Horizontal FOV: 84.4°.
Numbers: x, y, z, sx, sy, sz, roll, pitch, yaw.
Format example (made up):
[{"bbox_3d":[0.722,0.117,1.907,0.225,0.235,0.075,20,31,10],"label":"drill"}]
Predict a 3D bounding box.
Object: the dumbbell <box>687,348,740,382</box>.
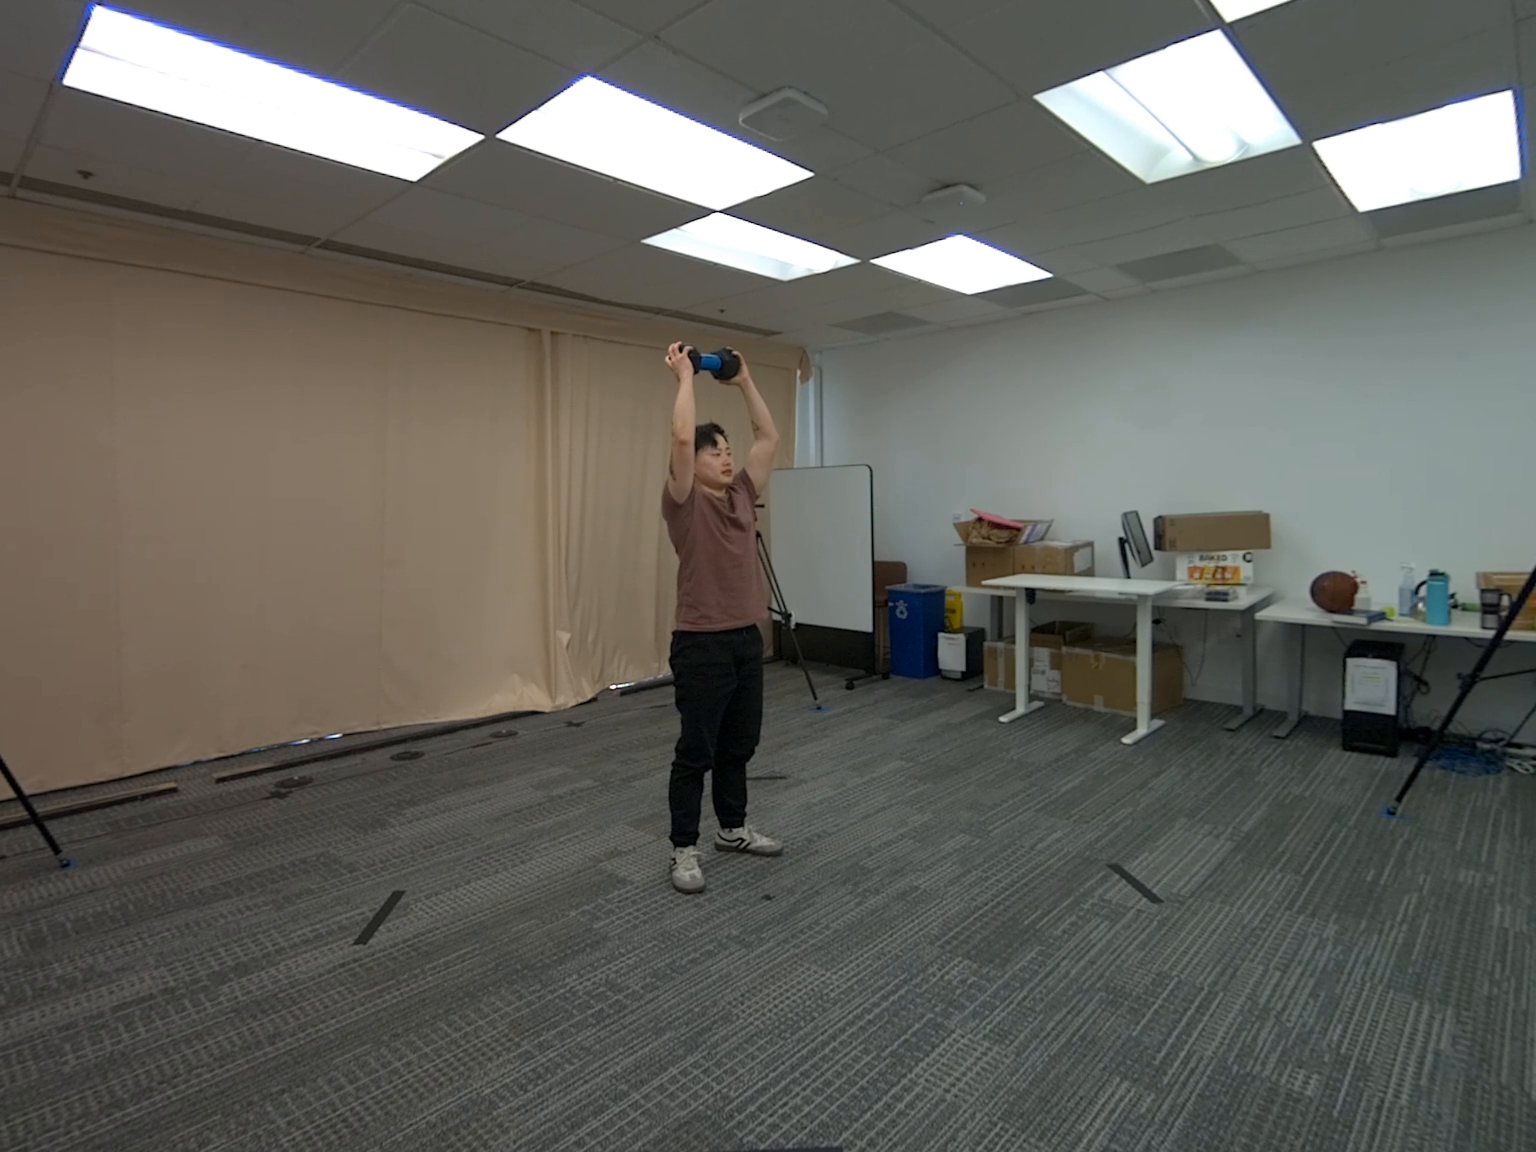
[{"bbox_3d":[-0.232,-0.795,3.154,0.285,0.126,0.109,-11,-32,-48],"label":"dumbbell"}]
